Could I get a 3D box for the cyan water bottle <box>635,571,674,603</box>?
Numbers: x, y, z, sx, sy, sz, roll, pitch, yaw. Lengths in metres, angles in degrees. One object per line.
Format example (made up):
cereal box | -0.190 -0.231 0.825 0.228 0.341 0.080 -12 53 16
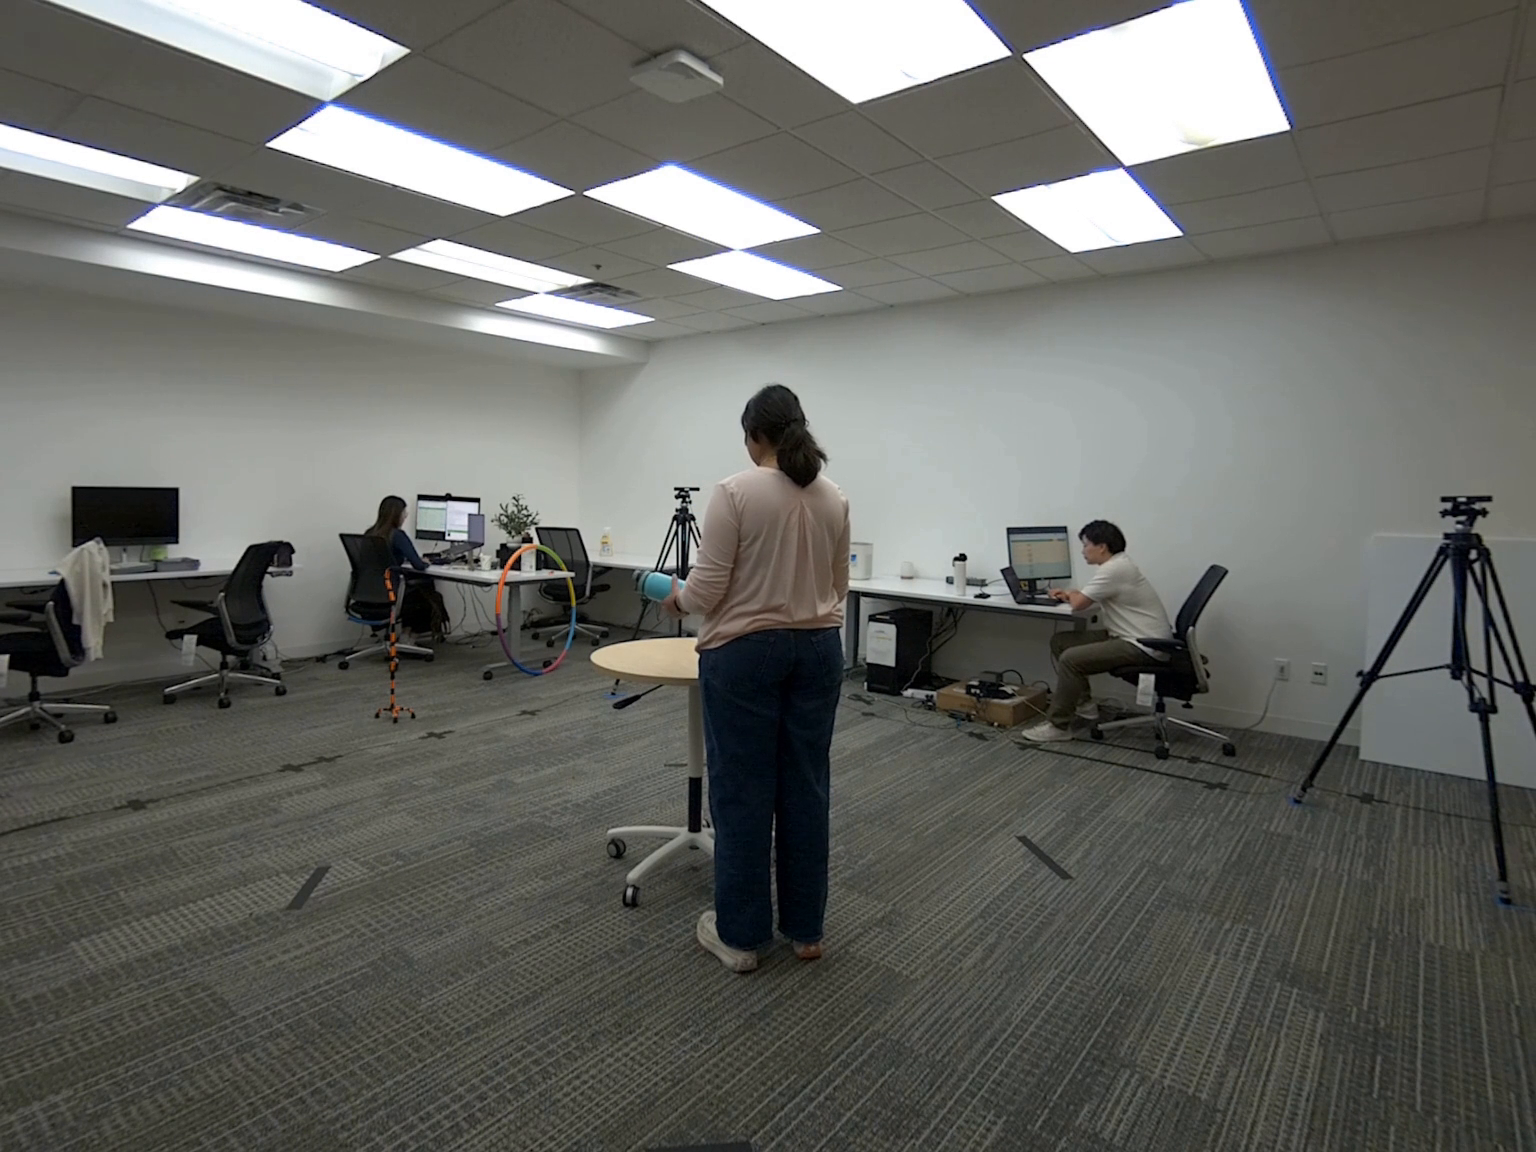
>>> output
cyan water bottle | -0.316 0.038 2.754 0.291 0.092 0.090 18 10 23
